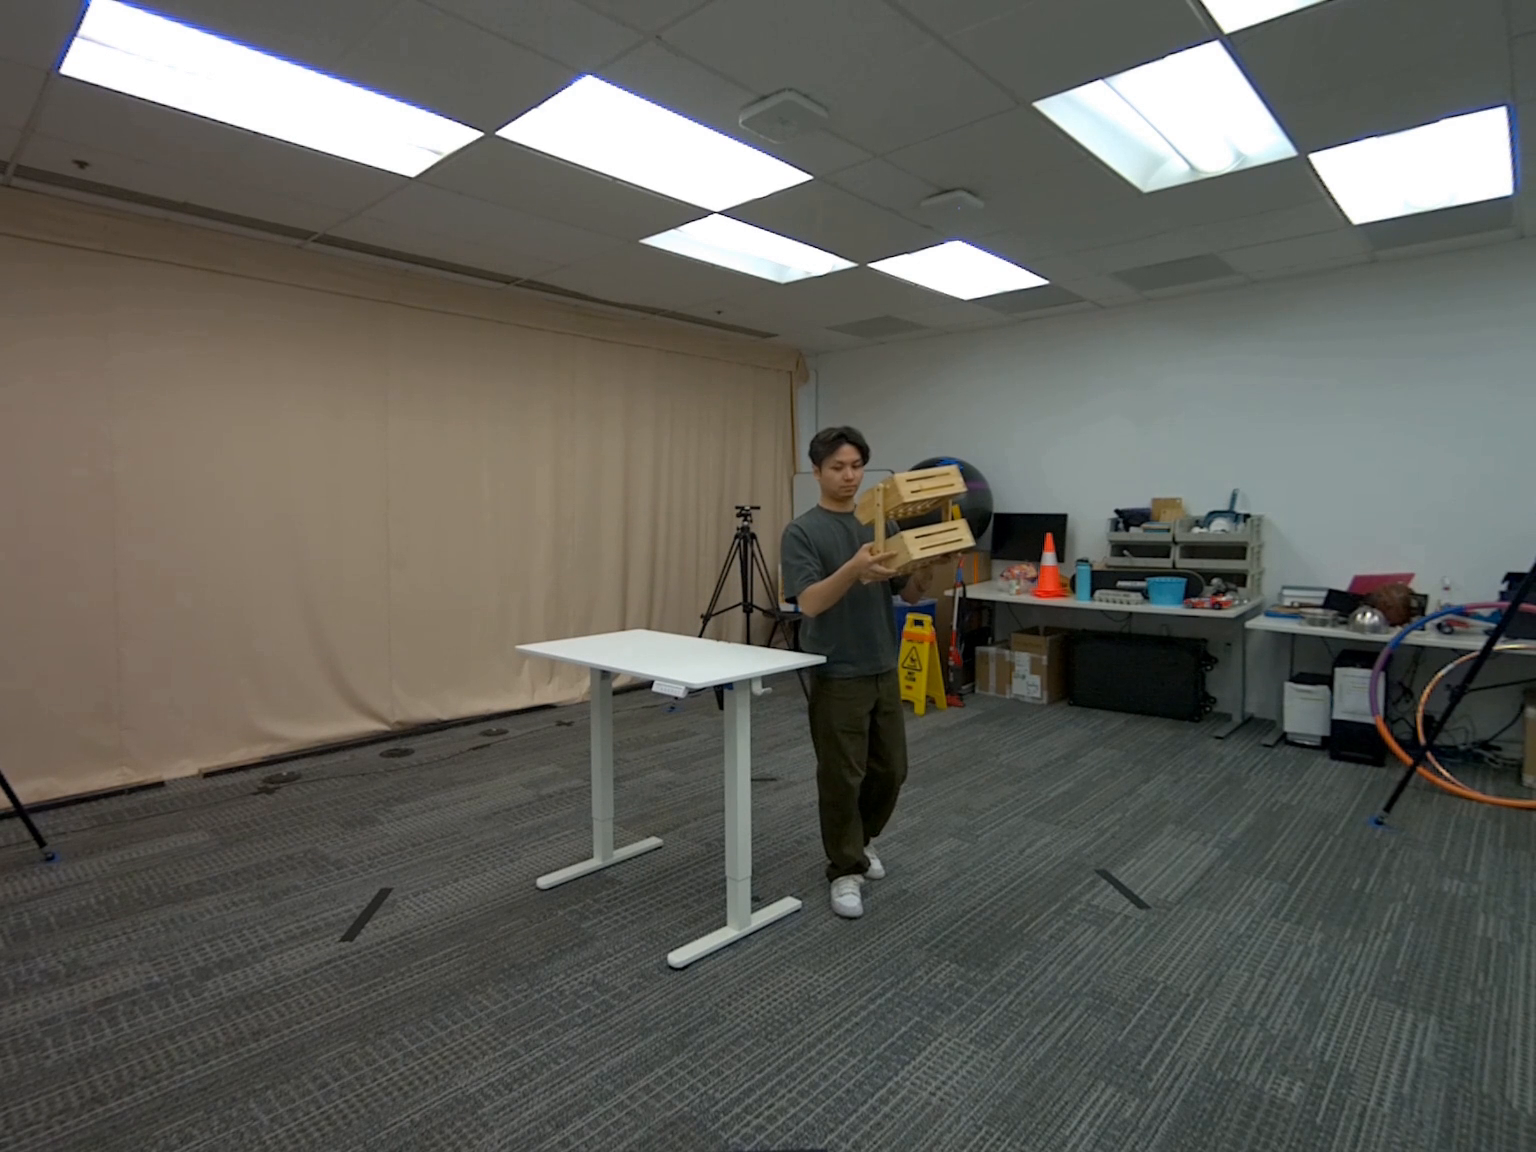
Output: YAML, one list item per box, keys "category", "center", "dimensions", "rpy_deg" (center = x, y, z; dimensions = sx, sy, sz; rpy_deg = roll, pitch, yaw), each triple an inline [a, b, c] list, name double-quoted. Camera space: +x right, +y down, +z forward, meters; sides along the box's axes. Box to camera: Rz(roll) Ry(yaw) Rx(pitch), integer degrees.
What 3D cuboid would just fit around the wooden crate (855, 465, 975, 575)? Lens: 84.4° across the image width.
- category: "wooden crate"
  center: [0.448, -0.165, 2.707]
  dimensions: [0.316, 0.276, 0.307]
  rpy_deg: [-12, -12, -36]
